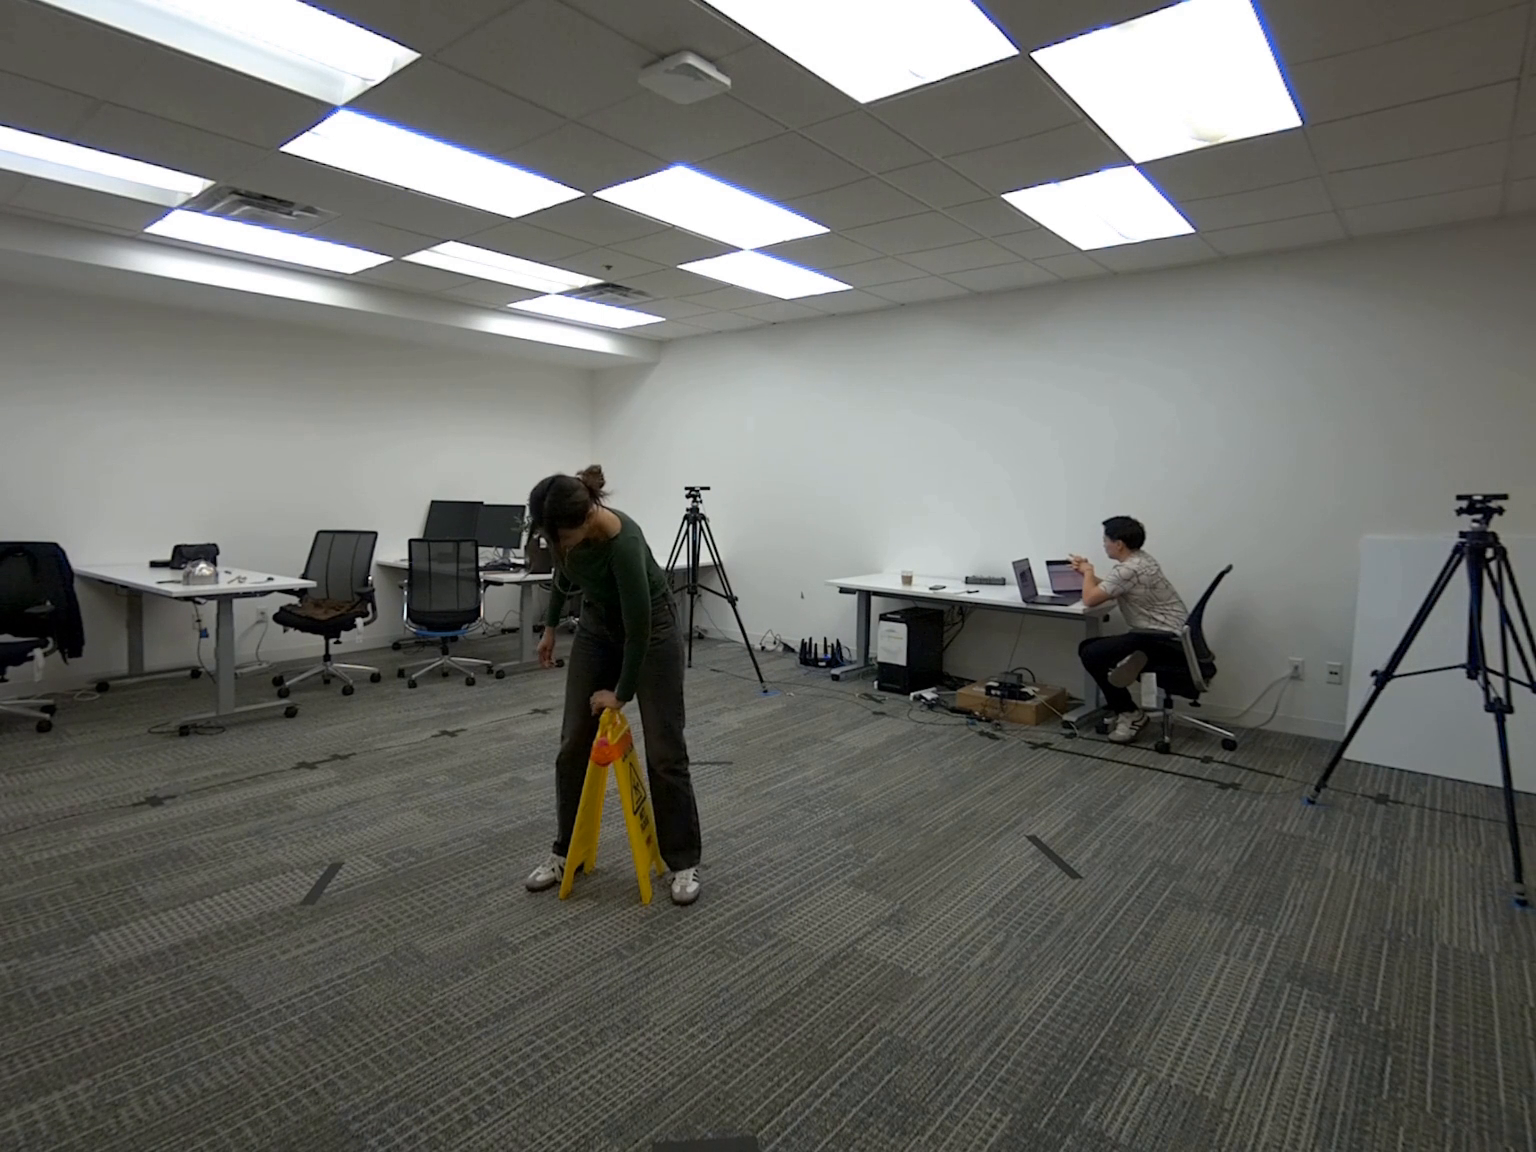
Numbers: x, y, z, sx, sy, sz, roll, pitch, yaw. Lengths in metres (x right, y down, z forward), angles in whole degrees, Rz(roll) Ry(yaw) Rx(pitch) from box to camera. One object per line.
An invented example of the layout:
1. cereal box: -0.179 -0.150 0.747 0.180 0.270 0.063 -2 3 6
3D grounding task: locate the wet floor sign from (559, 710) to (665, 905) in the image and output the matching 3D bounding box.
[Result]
1. wet floor sign: -0.540 0.750 2.939 0.291 0.644 0.281 1 3 4
